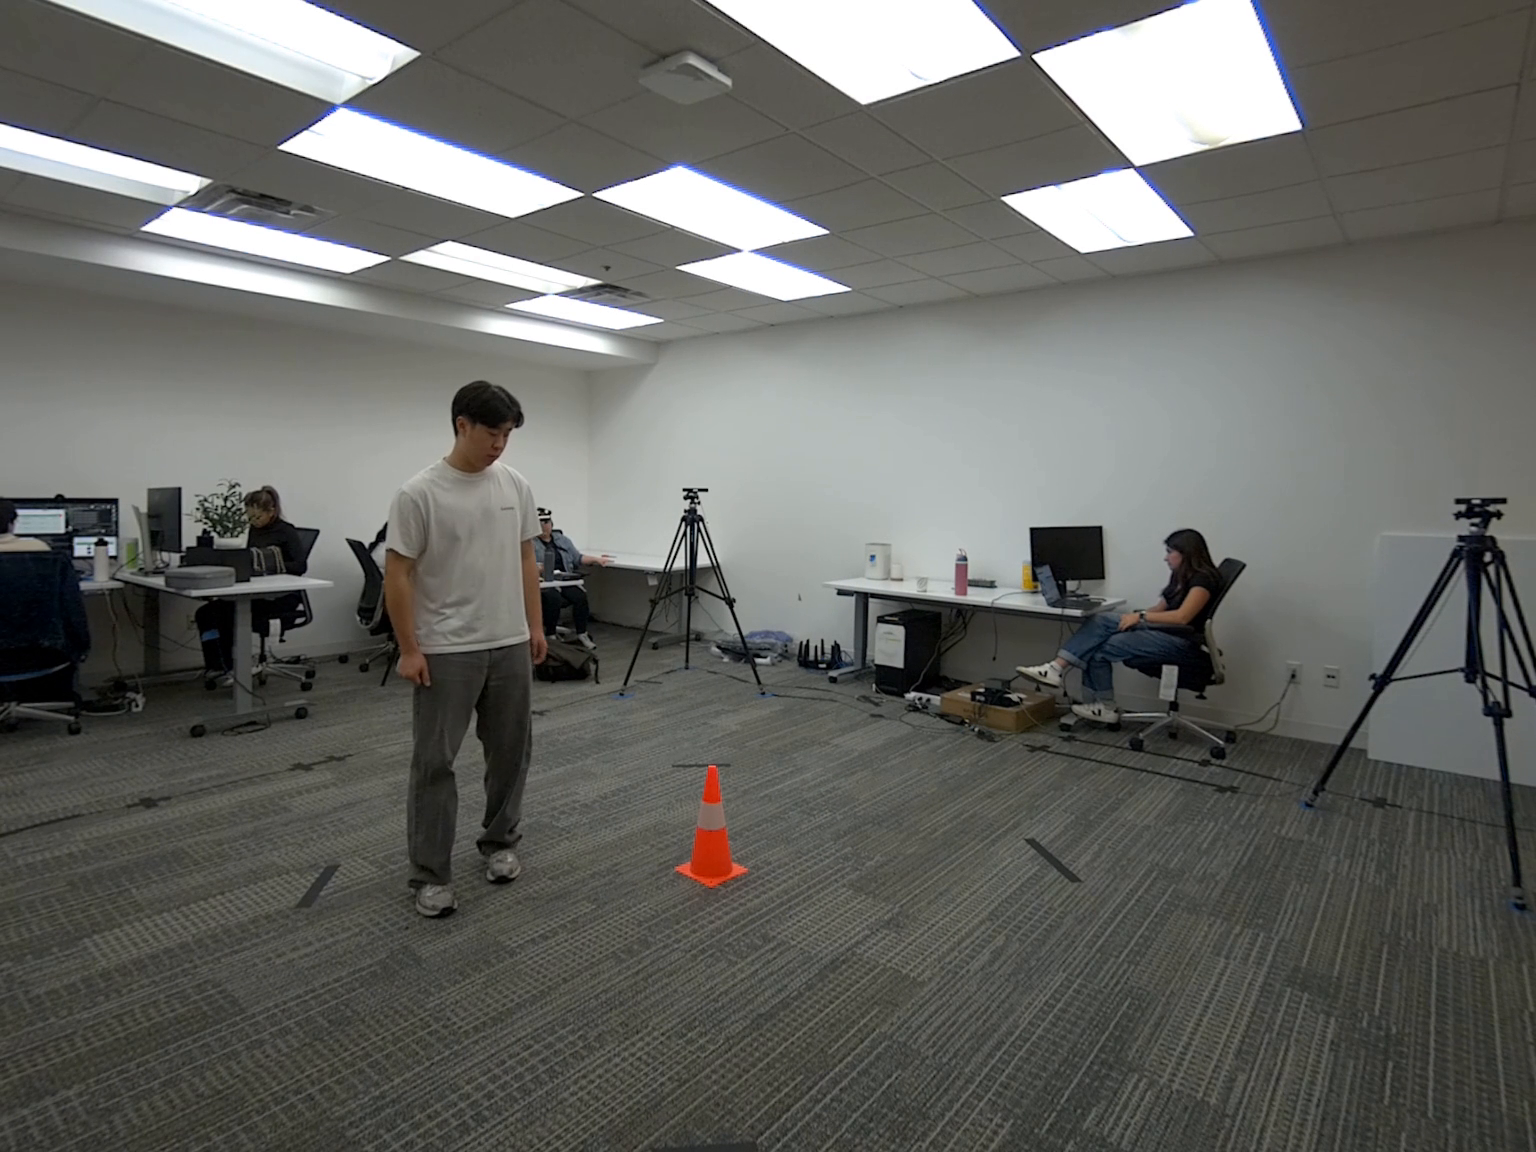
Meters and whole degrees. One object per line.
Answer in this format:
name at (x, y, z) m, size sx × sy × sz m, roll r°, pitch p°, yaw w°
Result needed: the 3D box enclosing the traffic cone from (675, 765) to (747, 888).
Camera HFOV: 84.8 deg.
traffic cone at (-0.214, 0.887, 3.101) m, size 0.210 × 0.383 × 0.199 m, roll 2°, pitch 3°, yaw 40°
